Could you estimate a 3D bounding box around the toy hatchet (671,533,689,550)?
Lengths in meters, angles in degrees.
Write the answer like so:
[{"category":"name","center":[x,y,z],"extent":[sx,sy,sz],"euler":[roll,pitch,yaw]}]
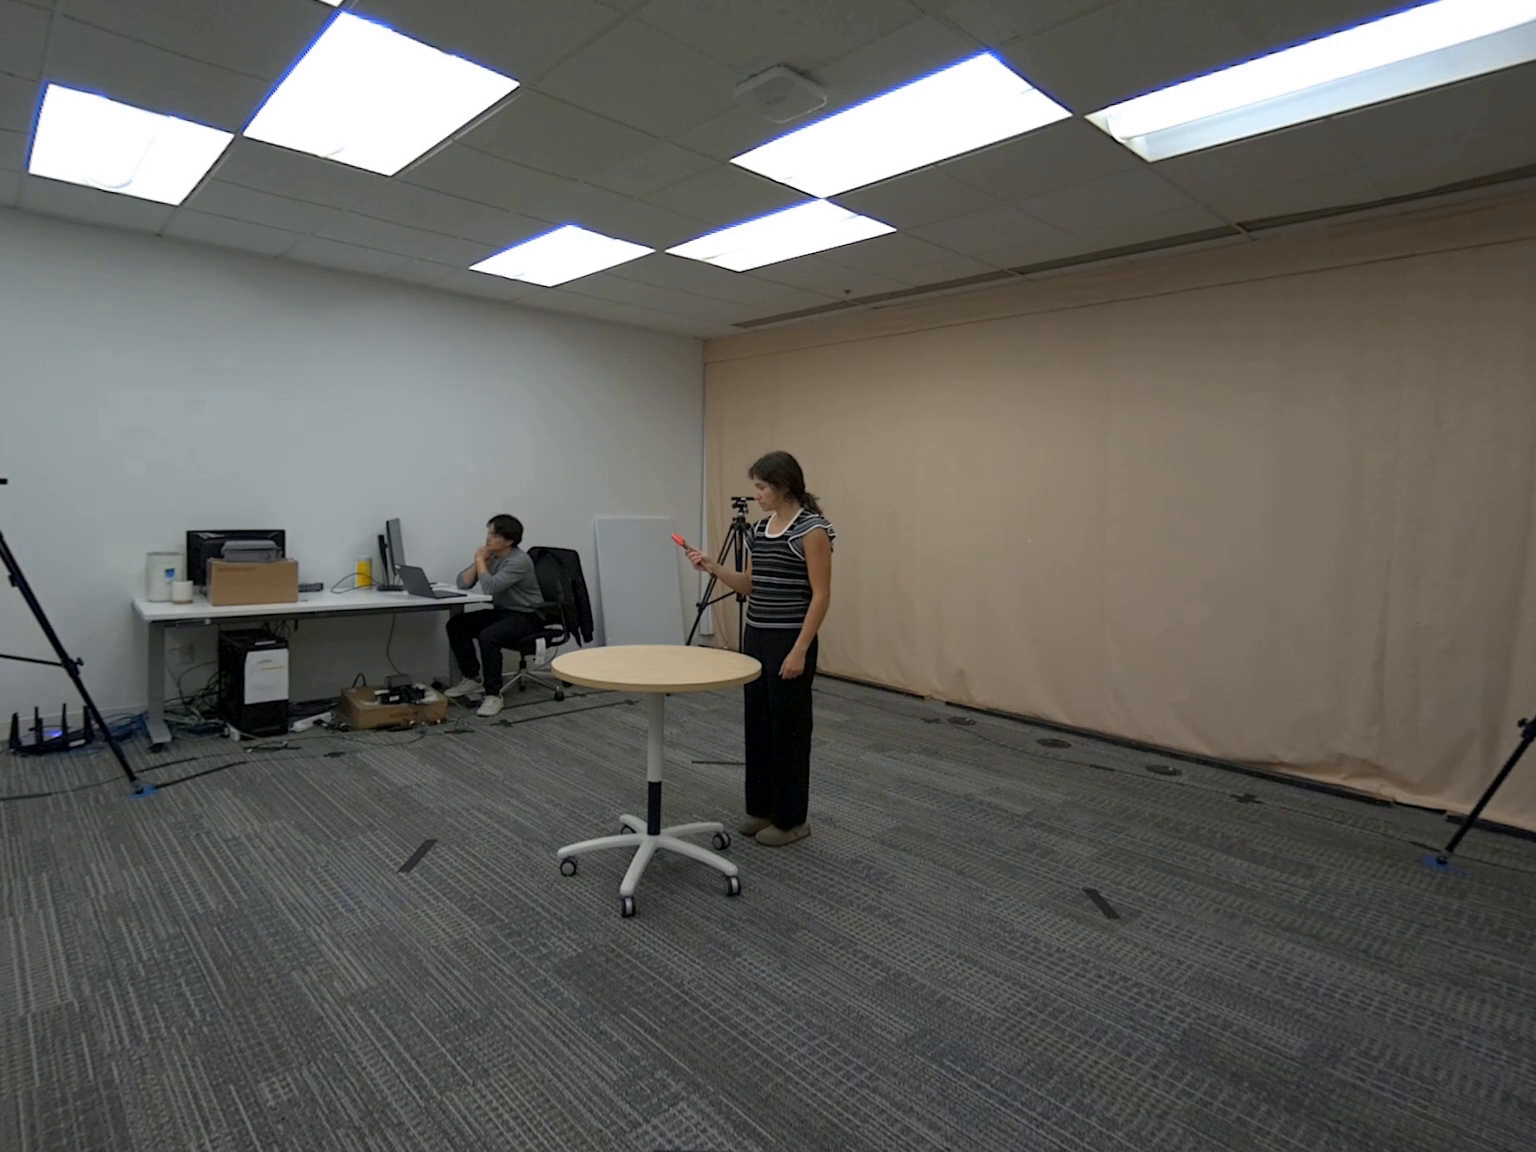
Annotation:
[{"category":"toy hatchet","center":[-0.319,-0.095,3.452],"extent":[0.279,0.029,0.127],"euler":[44,3,39]}]
